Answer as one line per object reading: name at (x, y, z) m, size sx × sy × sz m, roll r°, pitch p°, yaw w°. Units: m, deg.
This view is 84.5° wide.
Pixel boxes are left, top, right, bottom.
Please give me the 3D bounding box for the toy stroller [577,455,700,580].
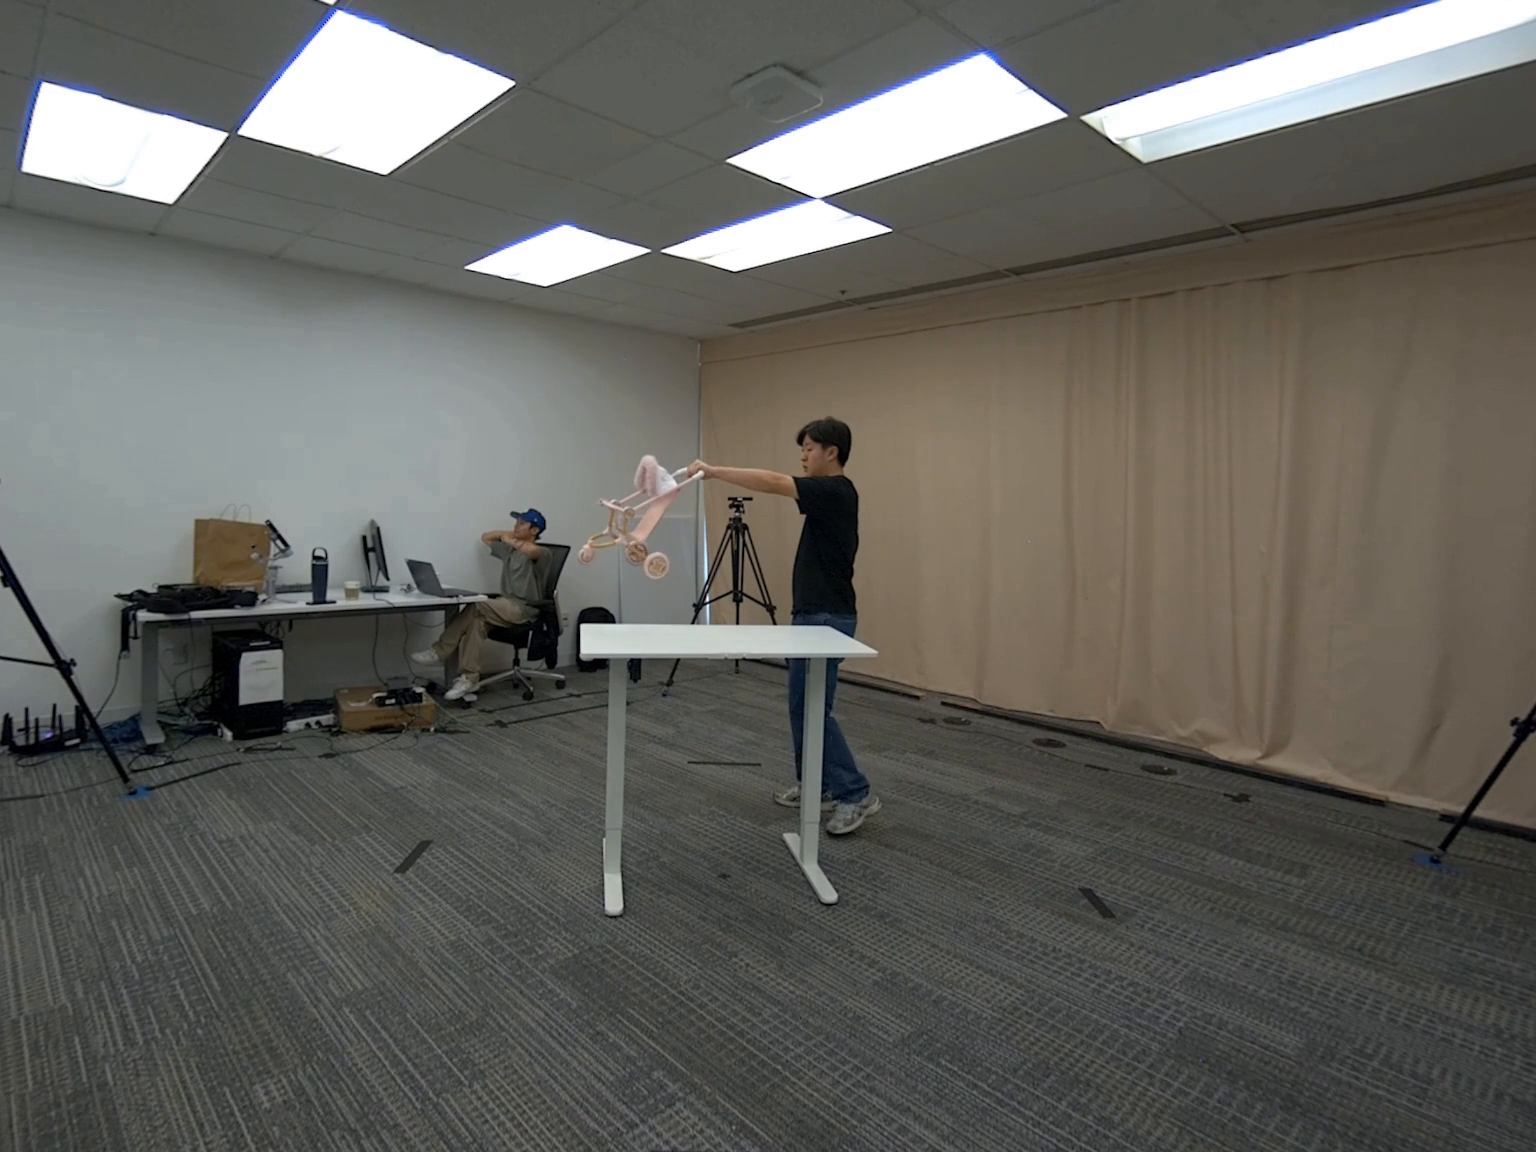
toy stroller at (-0.525, -0.245, 3.383) m, size 0.334 × 0.534 × 0.288 m, roll 22°, pitch 3°, yaw -23°
